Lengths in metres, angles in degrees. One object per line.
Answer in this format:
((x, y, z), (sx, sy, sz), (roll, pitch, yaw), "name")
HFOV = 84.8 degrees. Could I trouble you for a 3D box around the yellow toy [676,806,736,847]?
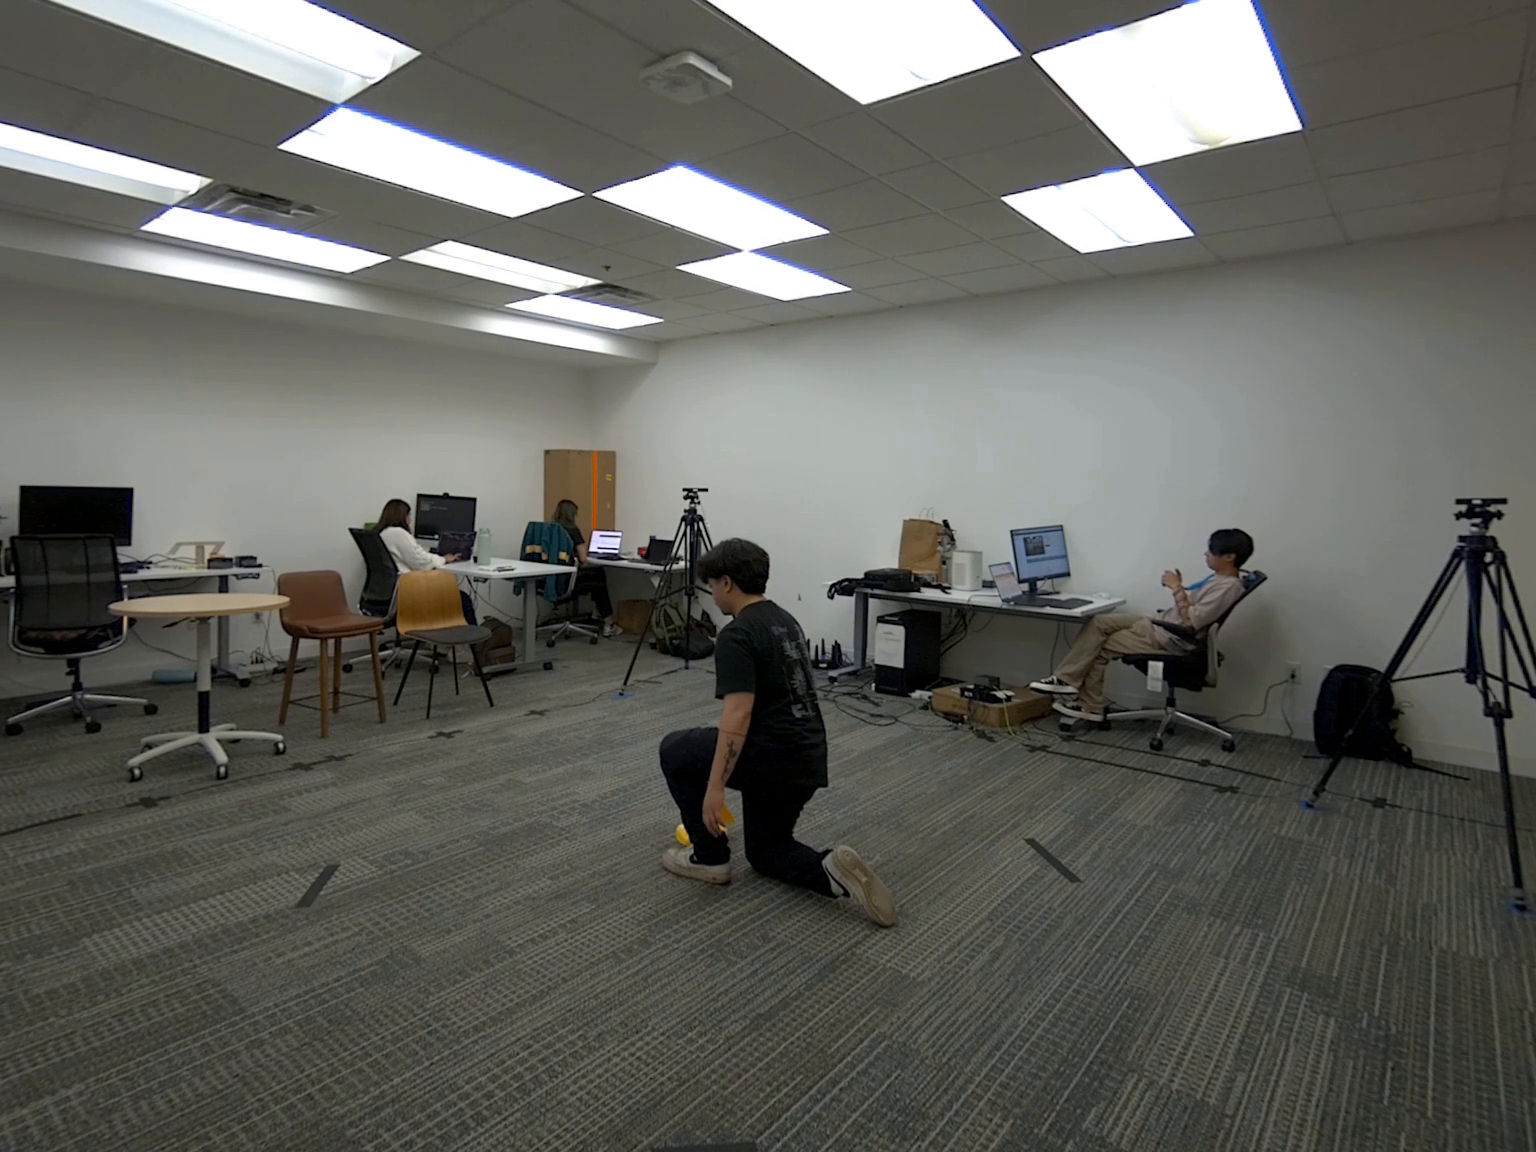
((-0.270, 0.924, 3.387), (0.199, 0.230, 0.199), (-2, 5, -29), "yellow toy")
